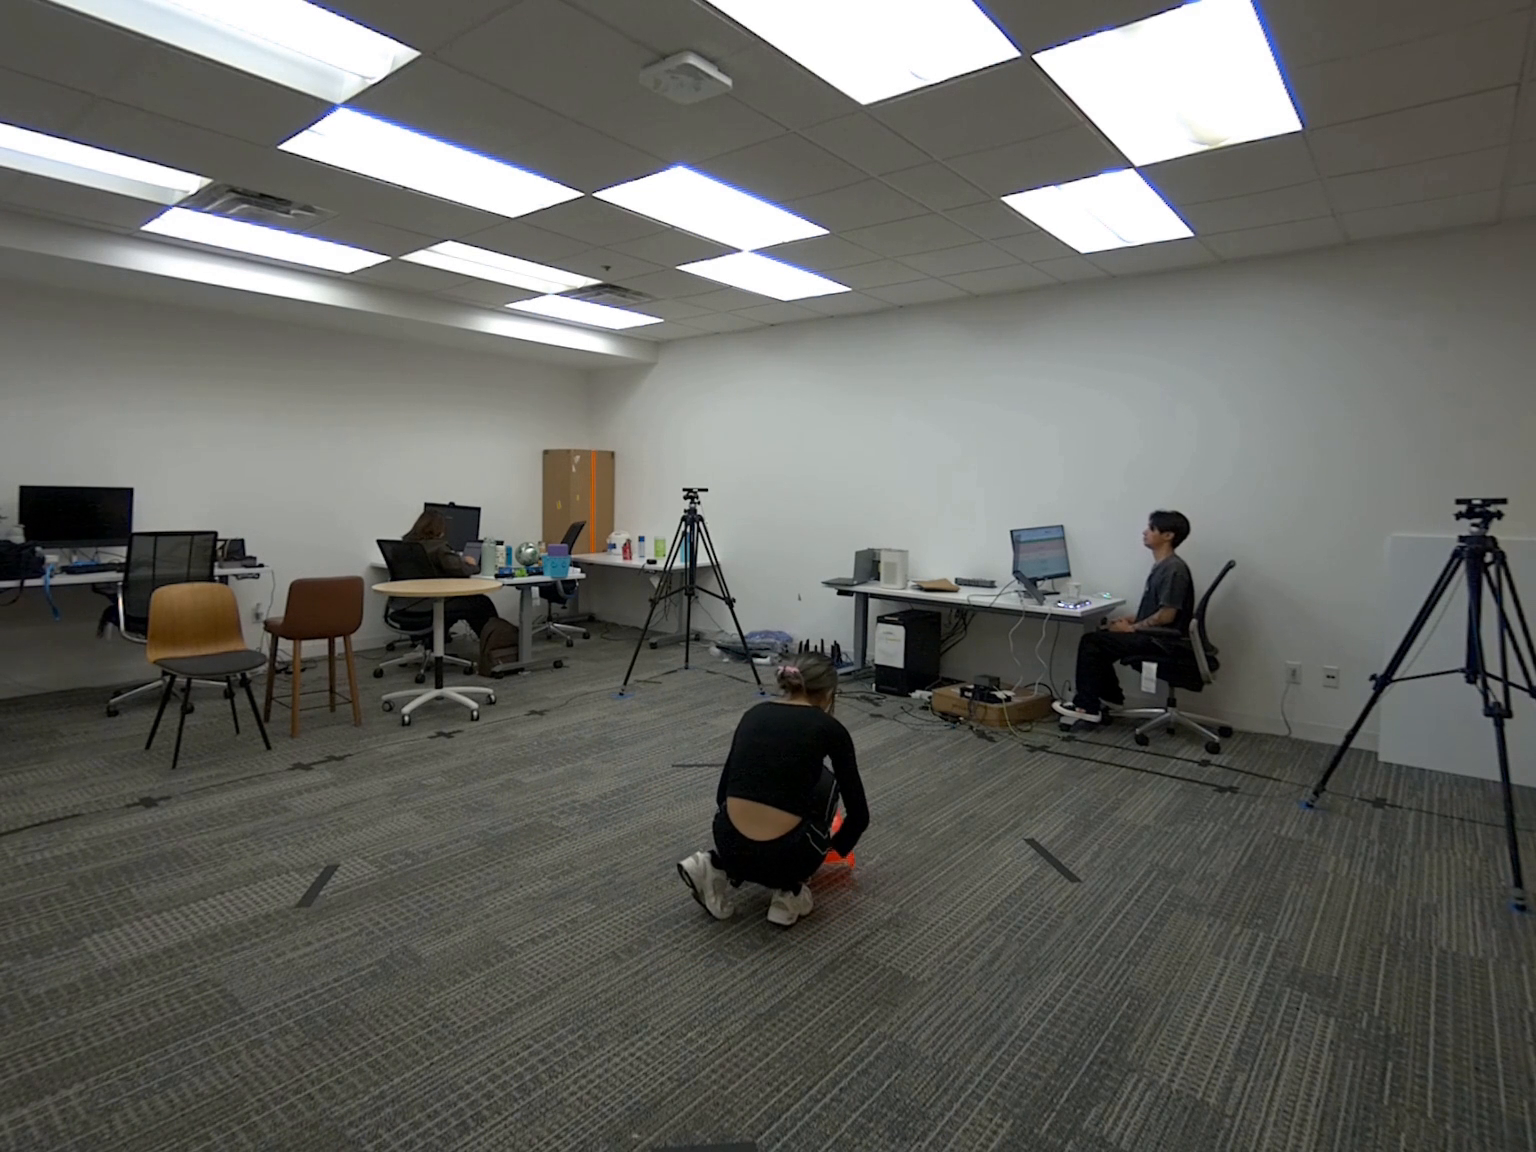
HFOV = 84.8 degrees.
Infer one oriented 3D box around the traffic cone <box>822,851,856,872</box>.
[{"bbox_3d":[0.093,1.009,3.097,0.383,0.210,0.199,-17,-27,-3],"label":"traffic cone"}]
